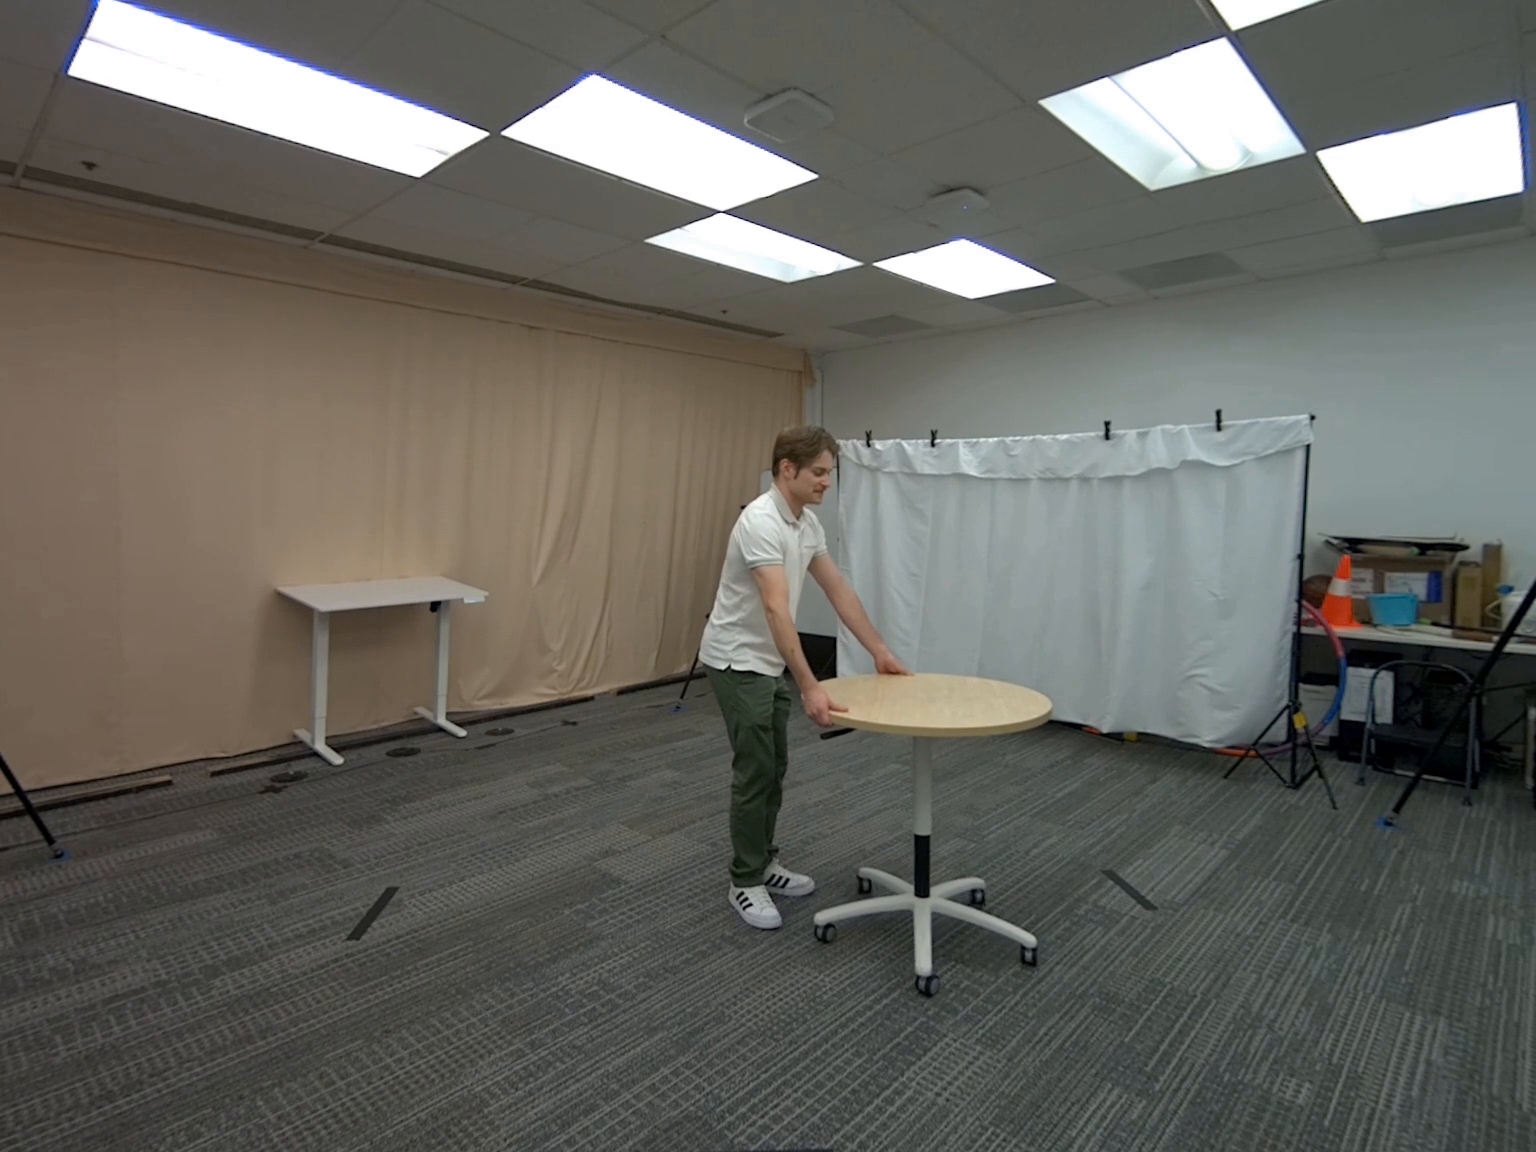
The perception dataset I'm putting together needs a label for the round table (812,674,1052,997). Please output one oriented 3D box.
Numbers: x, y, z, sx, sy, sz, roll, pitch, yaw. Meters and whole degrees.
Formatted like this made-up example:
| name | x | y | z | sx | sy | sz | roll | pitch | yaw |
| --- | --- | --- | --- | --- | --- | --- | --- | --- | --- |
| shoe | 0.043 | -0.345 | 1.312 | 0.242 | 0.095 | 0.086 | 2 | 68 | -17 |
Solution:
| name | x | y | z | sx | sy | sz | roll | pitch | yaw |
| --- | --- | --- | --- | --- | --- | --- | --- | --- | --- |
| round table | 0.495 | 0.778 | 2.690 | 0.763 | 0.792 | 0.767 | -1 | 4 | -2 |
